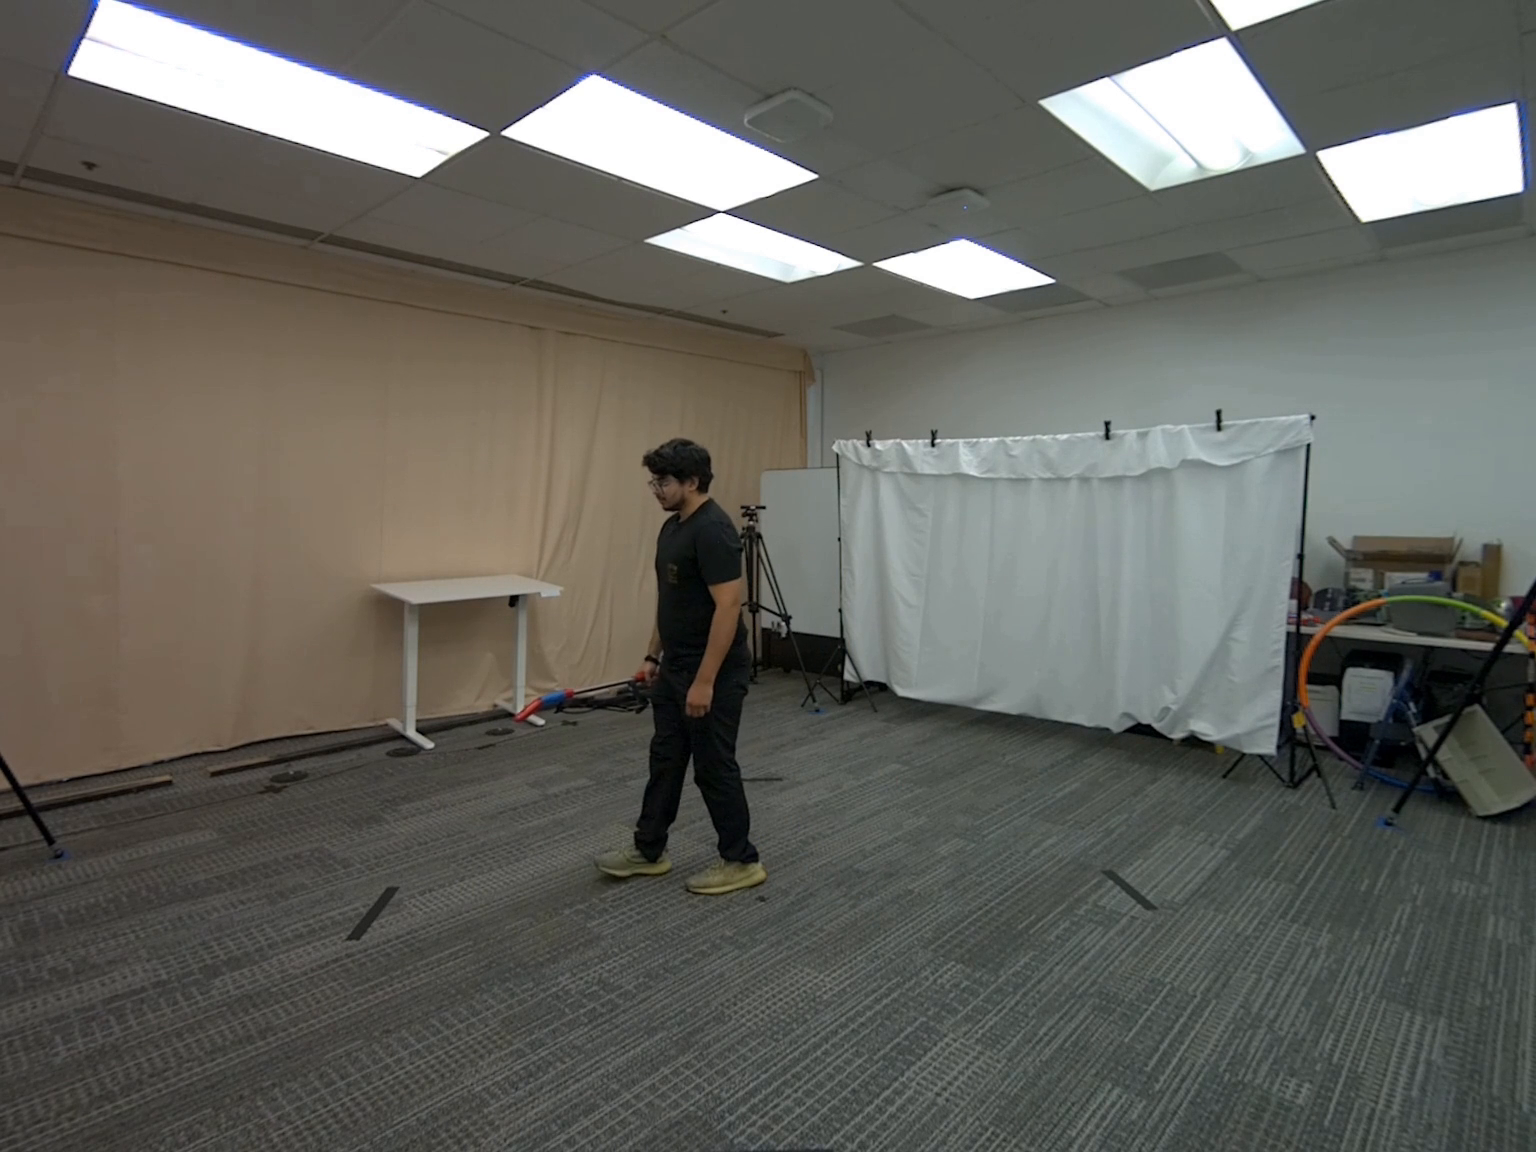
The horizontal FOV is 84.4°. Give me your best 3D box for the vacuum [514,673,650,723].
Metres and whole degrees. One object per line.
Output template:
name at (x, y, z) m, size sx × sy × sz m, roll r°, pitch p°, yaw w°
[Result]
vacuum at (-0.519, 0.444, 3.197) m, size 0.261 × 0.143 × 1.019 m, roll 4°, pitch 7°, yaw 36°
